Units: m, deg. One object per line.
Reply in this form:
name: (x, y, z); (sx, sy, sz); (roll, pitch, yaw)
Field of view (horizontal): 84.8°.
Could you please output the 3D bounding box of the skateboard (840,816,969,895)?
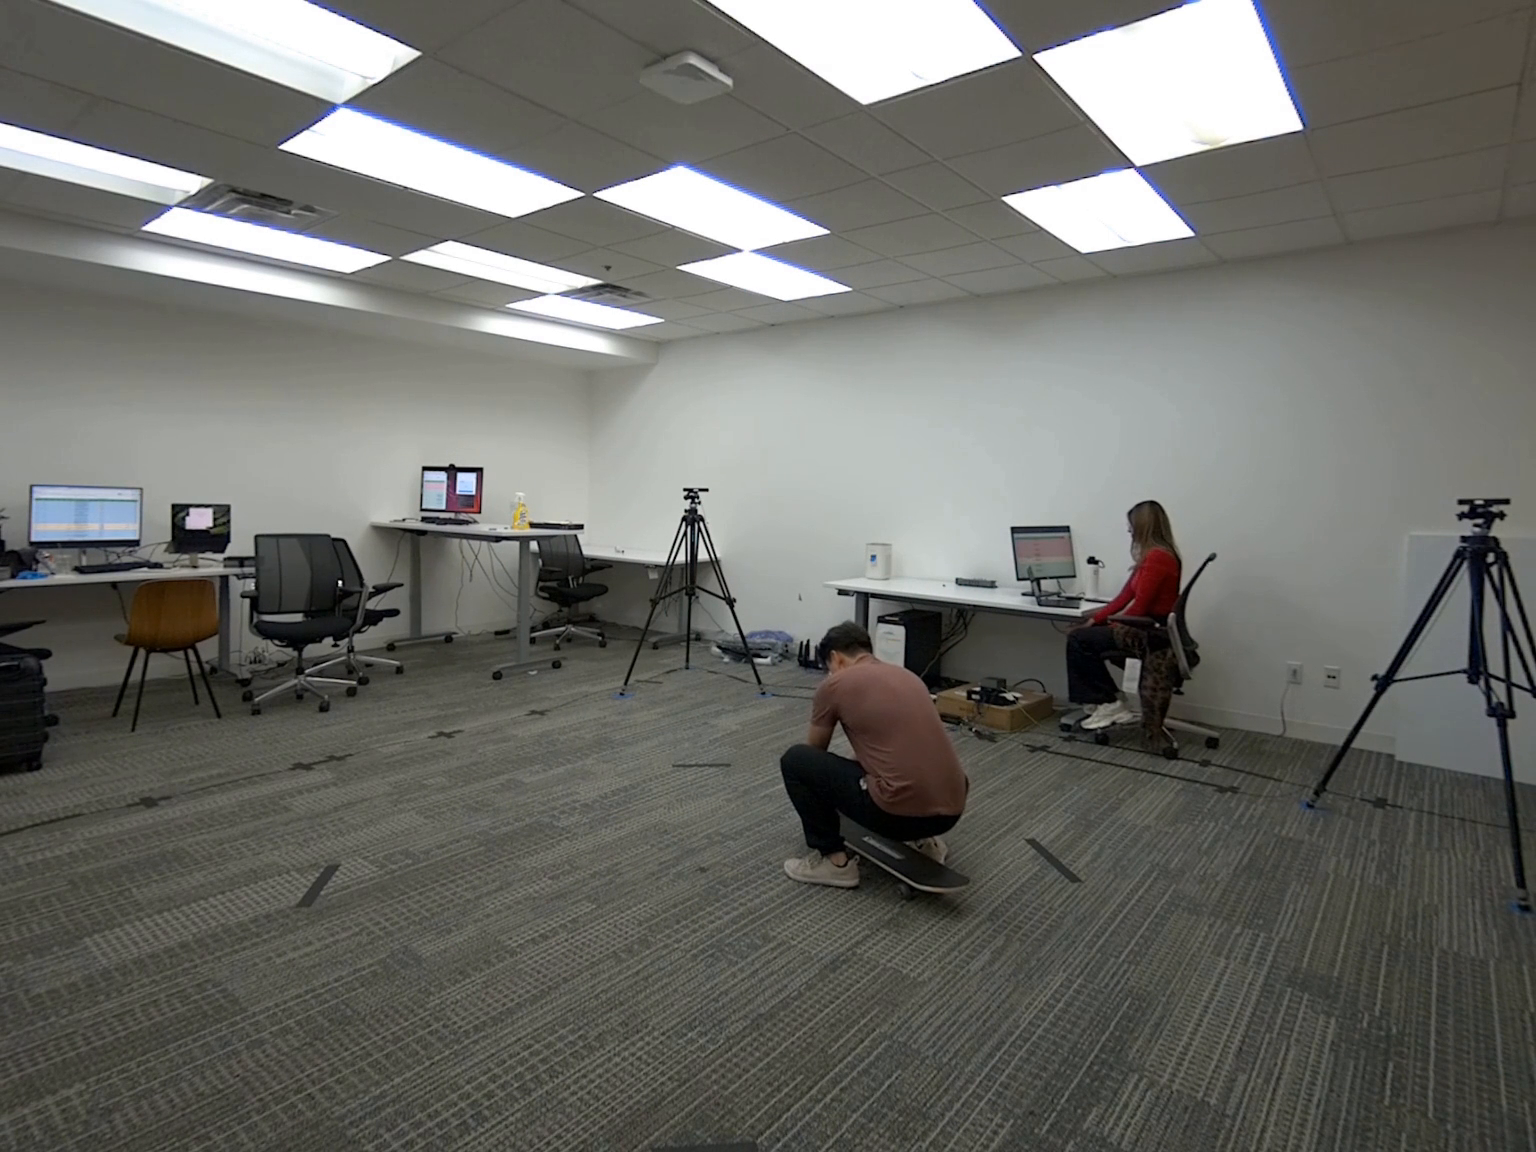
skateboard: (0.418, 1.017, 3.125); (0.188, 0.110, 0.810); (-3, 7, -32)
